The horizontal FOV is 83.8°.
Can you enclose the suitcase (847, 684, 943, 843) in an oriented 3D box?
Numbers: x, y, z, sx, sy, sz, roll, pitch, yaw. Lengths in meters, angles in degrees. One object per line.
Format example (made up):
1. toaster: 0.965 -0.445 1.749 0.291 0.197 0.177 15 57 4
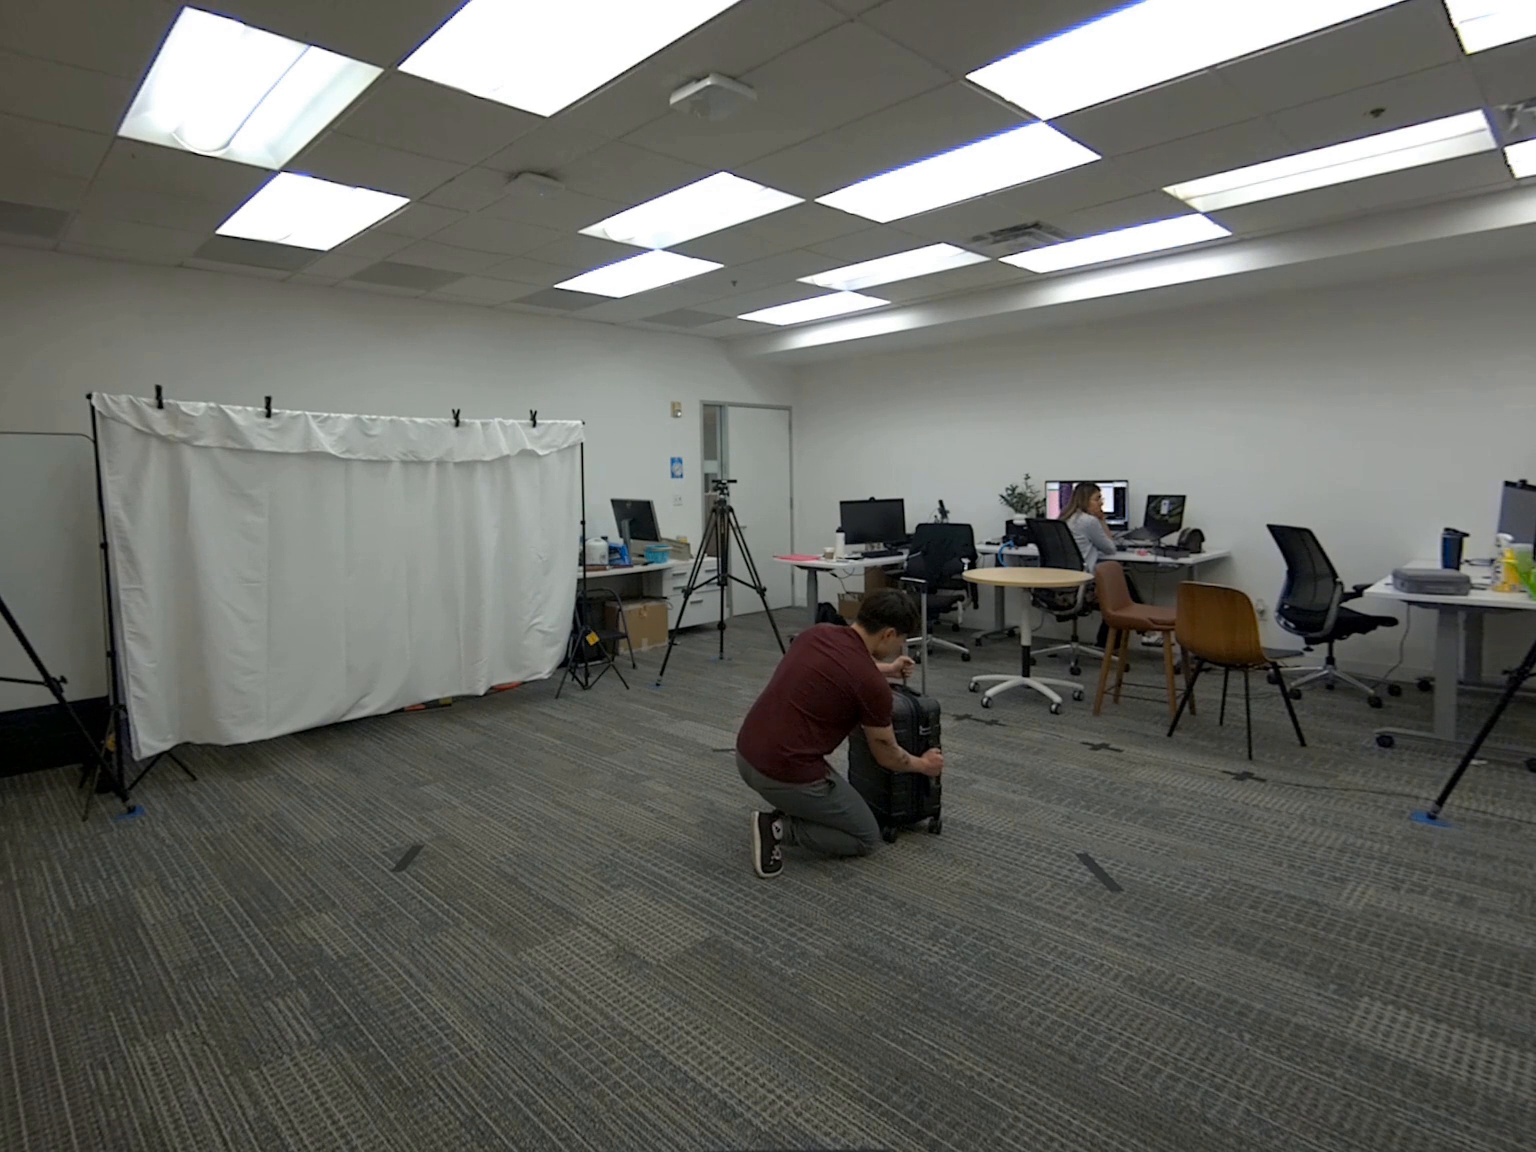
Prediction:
1. suitcase: 0.502 0.515 3.443 0.252 0.977 0.392 -2 2 -23
